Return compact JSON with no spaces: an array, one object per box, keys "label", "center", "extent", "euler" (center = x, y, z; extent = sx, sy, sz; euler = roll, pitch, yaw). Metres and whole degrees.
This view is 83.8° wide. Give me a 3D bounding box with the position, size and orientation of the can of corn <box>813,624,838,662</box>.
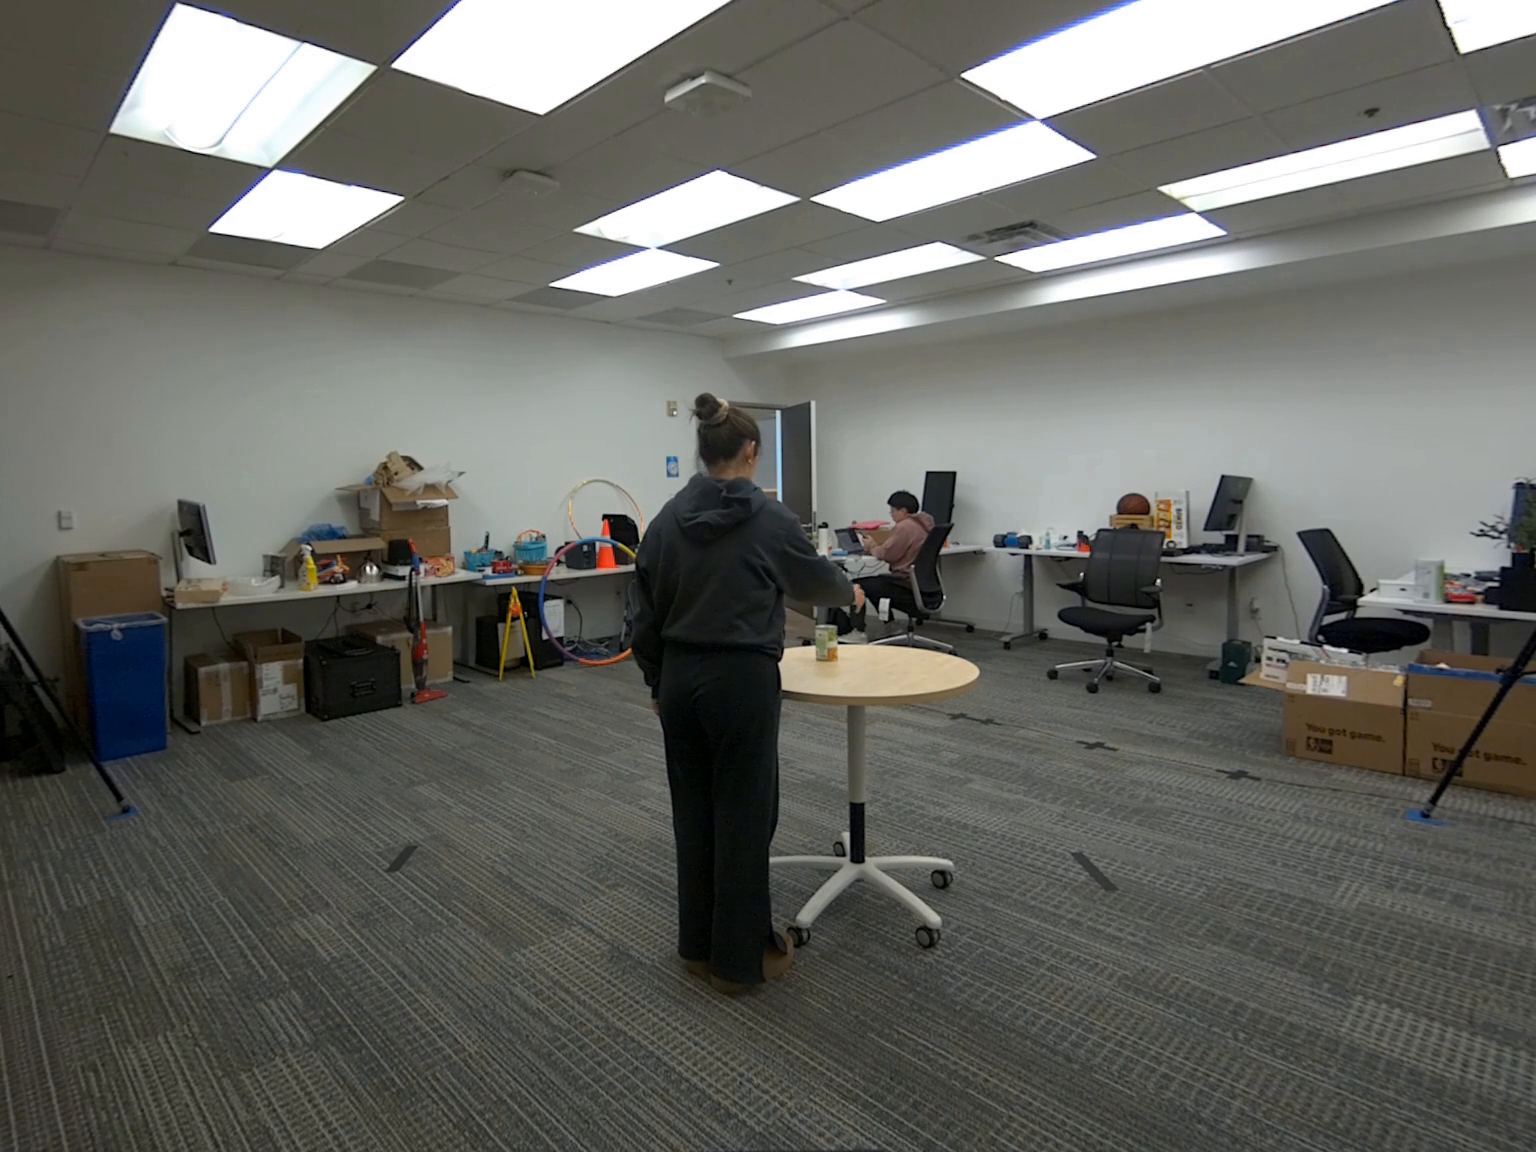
[{"label":"can of corn","center":[0.202,0.227,2.874],"extent":[0.074,0.110,0.074],"euler":[-2,4,-1]}]
